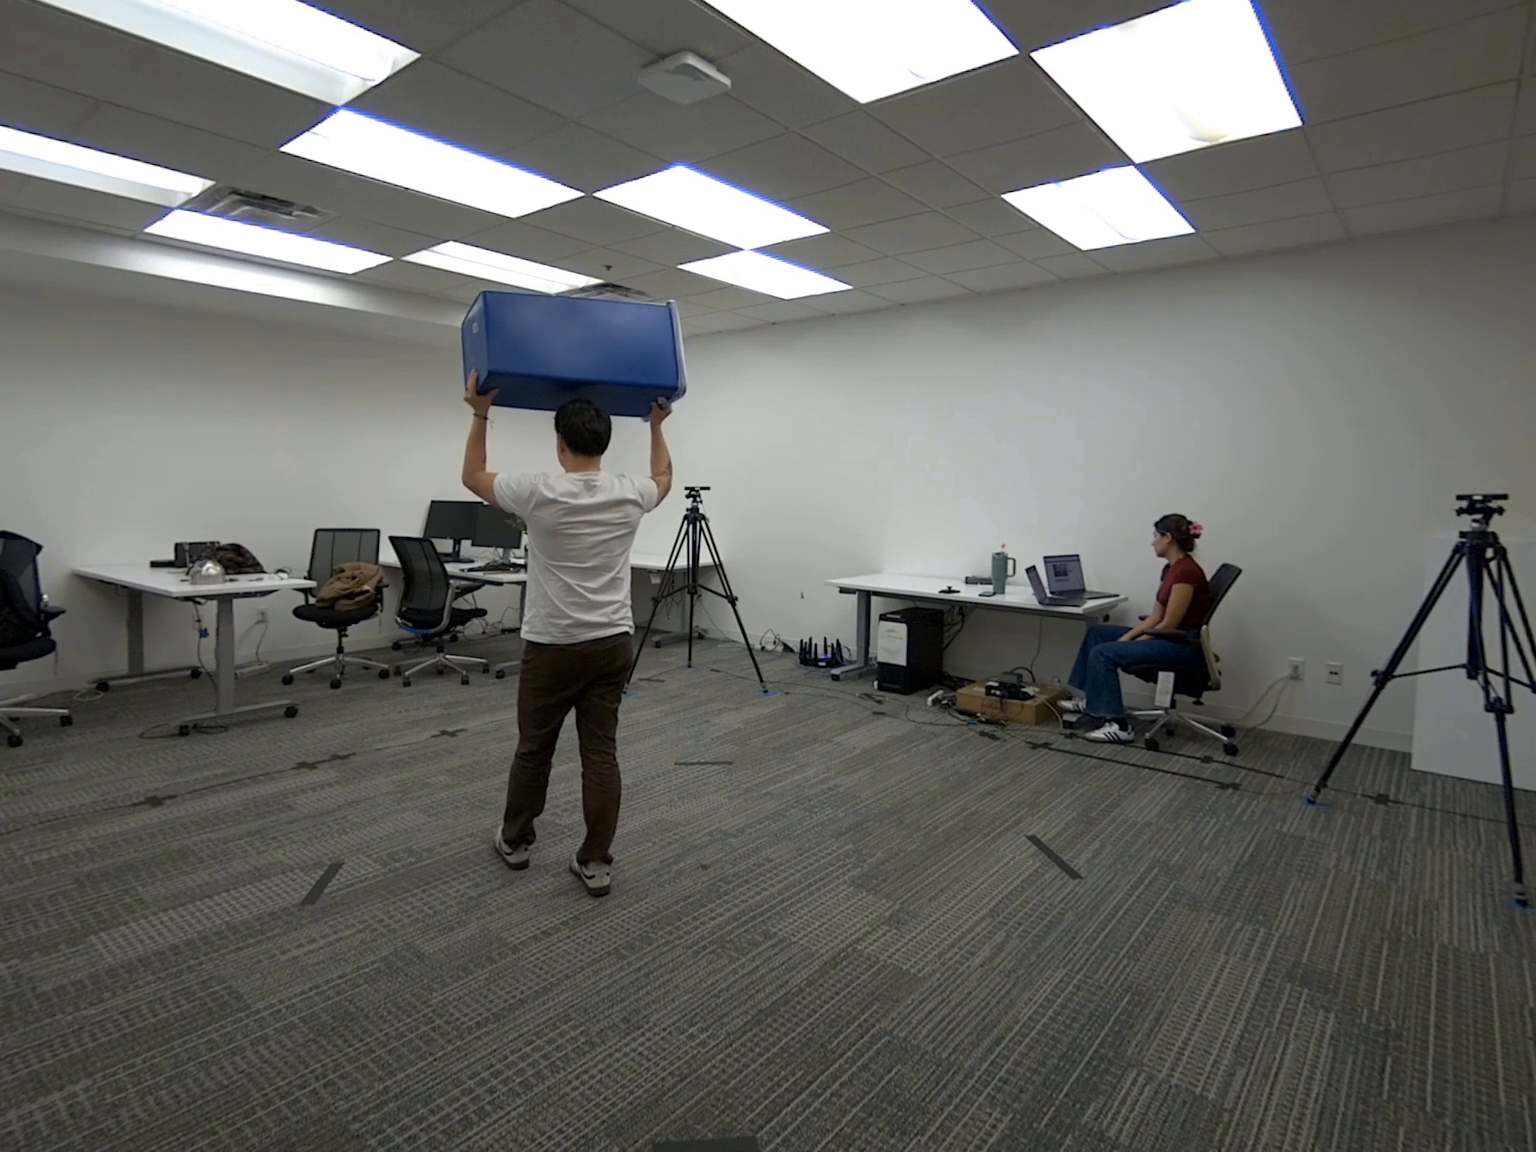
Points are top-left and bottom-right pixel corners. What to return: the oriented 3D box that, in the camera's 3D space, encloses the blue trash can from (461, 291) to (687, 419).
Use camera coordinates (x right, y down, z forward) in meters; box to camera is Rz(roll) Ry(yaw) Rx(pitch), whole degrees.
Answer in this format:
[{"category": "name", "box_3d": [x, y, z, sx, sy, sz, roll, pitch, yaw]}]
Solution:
[{"category": "blue trash can", "box_3d": [-0.714, -0.799, 3.078, 0.695, 0.382, 0.380, -3, -9, -31]}]
